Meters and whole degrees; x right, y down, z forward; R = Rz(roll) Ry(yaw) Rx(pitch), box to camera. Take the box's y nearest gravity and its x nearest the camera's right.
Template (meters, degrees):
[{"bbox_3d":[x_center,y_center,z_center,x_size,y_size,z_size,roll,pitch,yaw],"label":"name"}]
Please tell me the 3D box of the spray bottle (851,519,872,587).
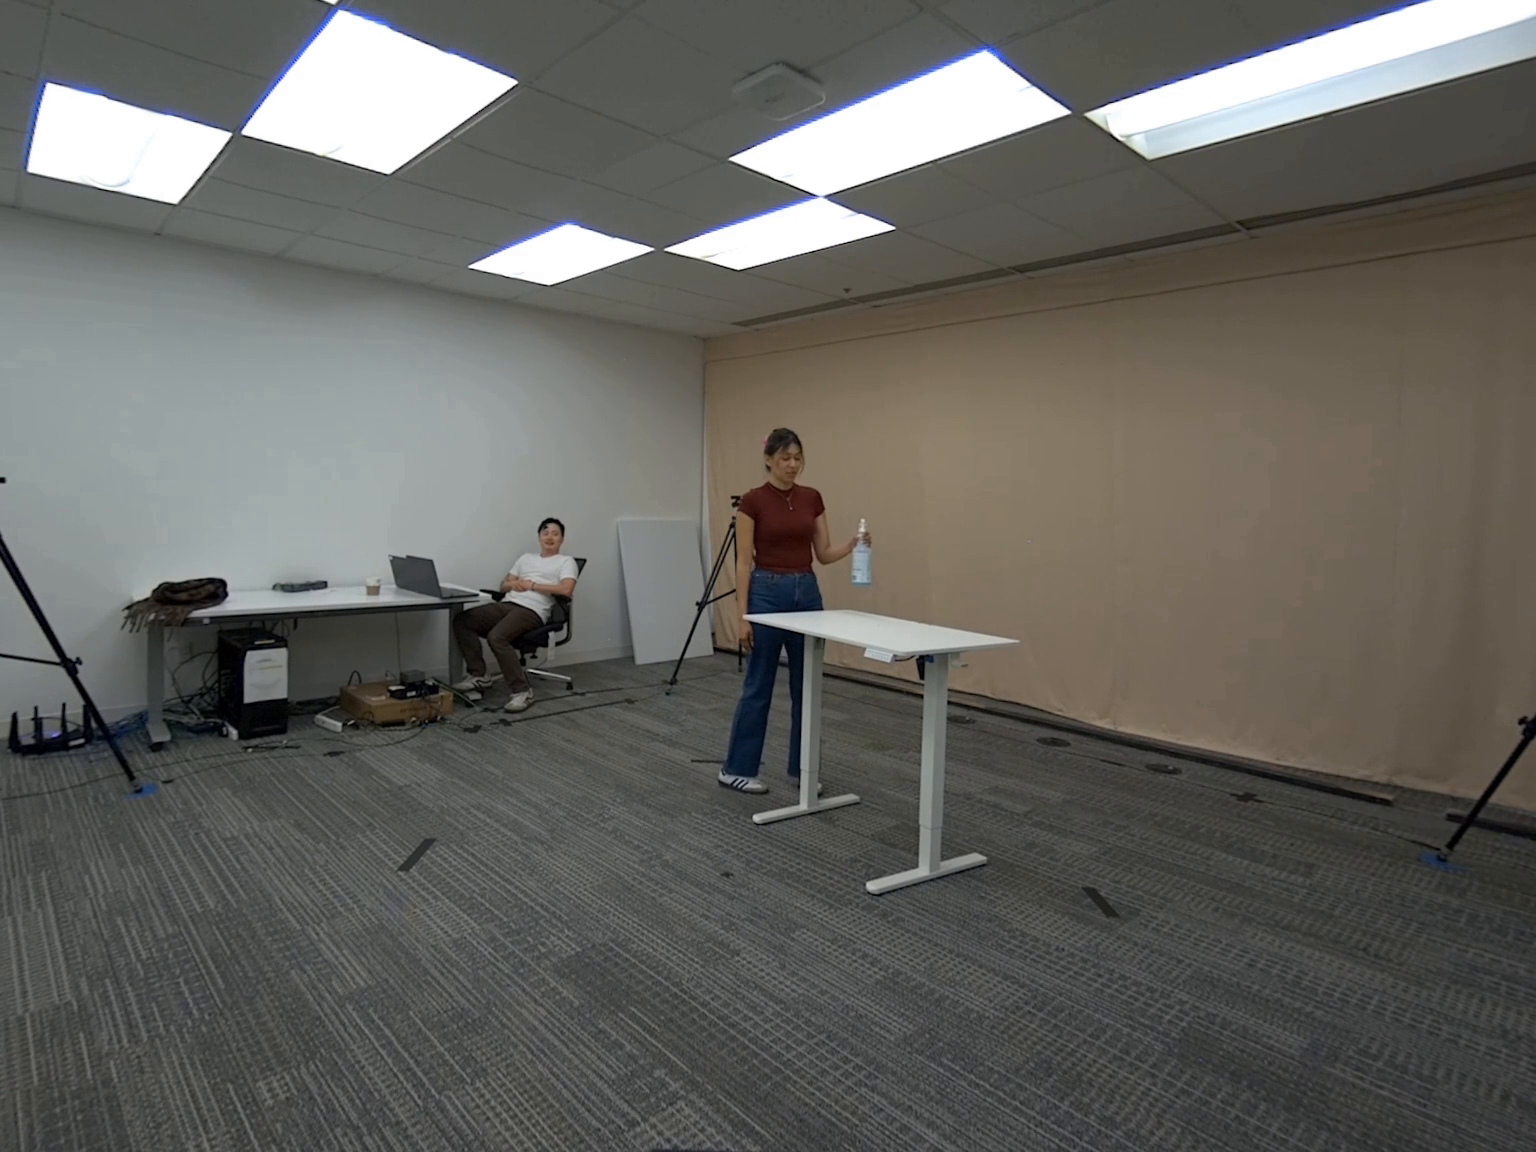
[{"bbox_3d":[0.415,-0.101,3.788,0.089,0.297,0.088,1,1,31],"label":"spray bottle"}]
